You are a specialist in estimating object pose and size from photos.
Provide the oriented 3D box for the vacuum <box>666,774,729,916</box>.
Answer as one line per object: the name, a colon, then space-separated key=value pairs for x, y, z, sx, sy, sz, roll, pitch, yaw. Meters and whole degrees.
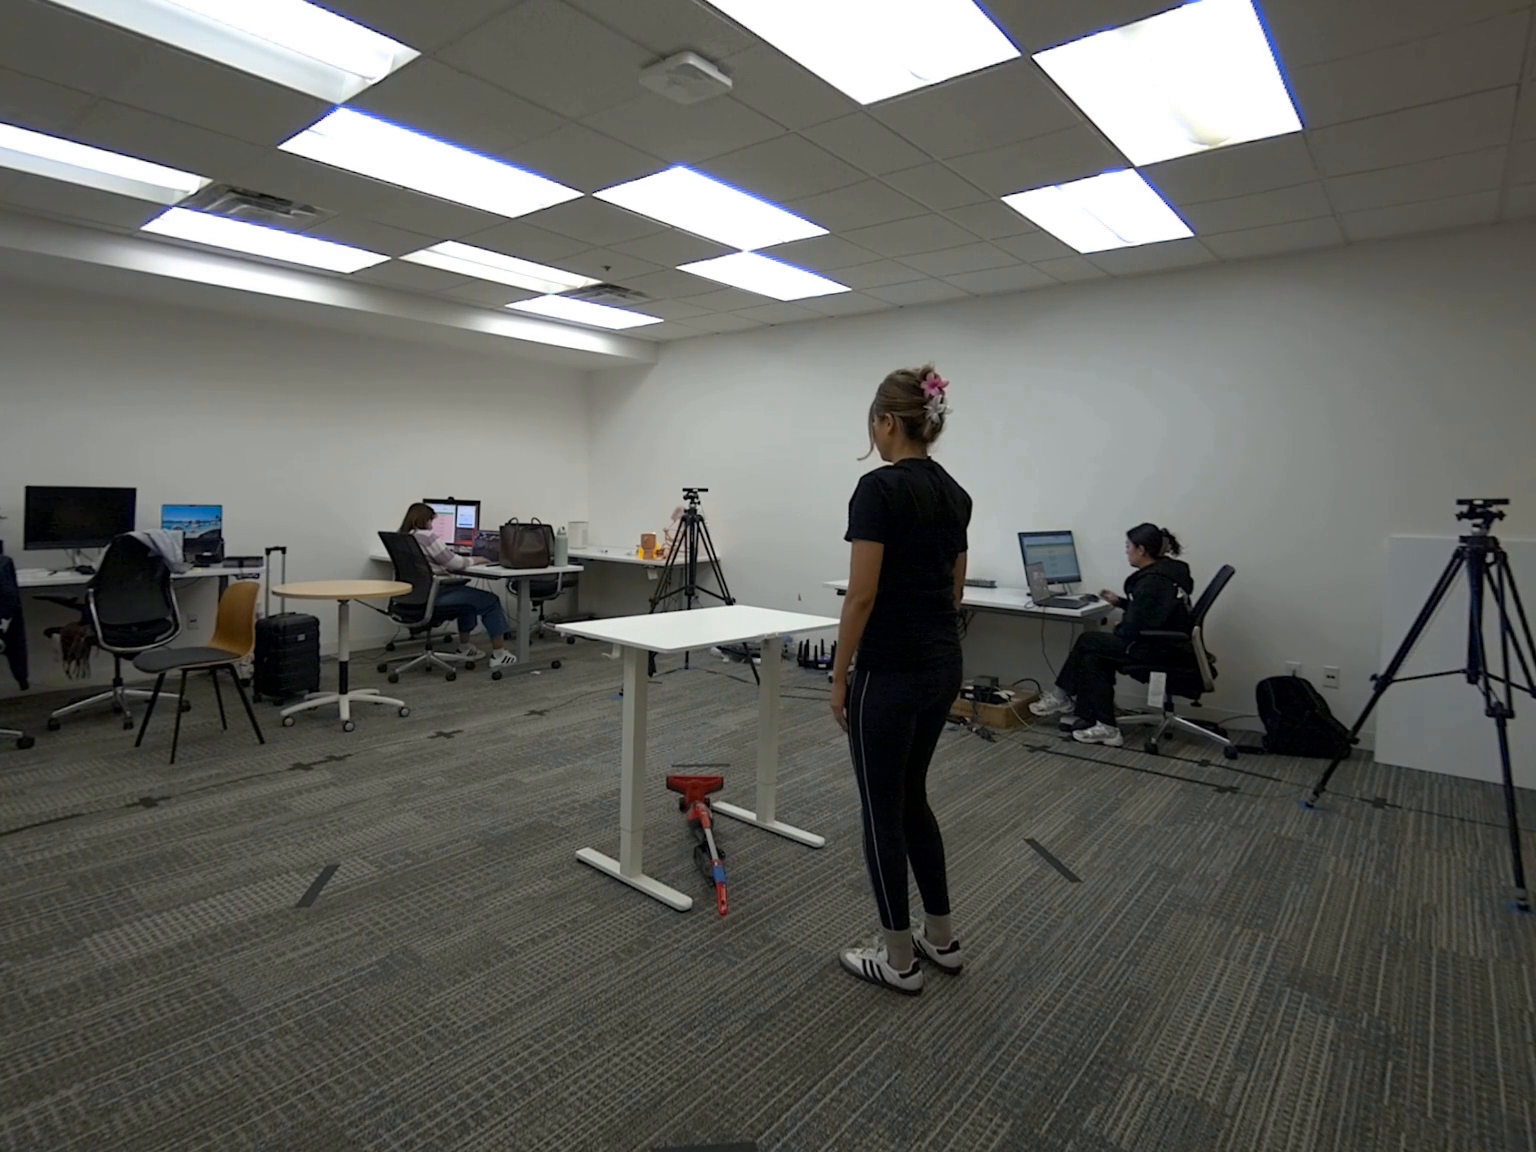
vacuum: x=-0.234 y=0.995 z=3.194 sx=0.250 sy=0.143 sz=1.066 roll=2 pitch=7 yaw=-11
